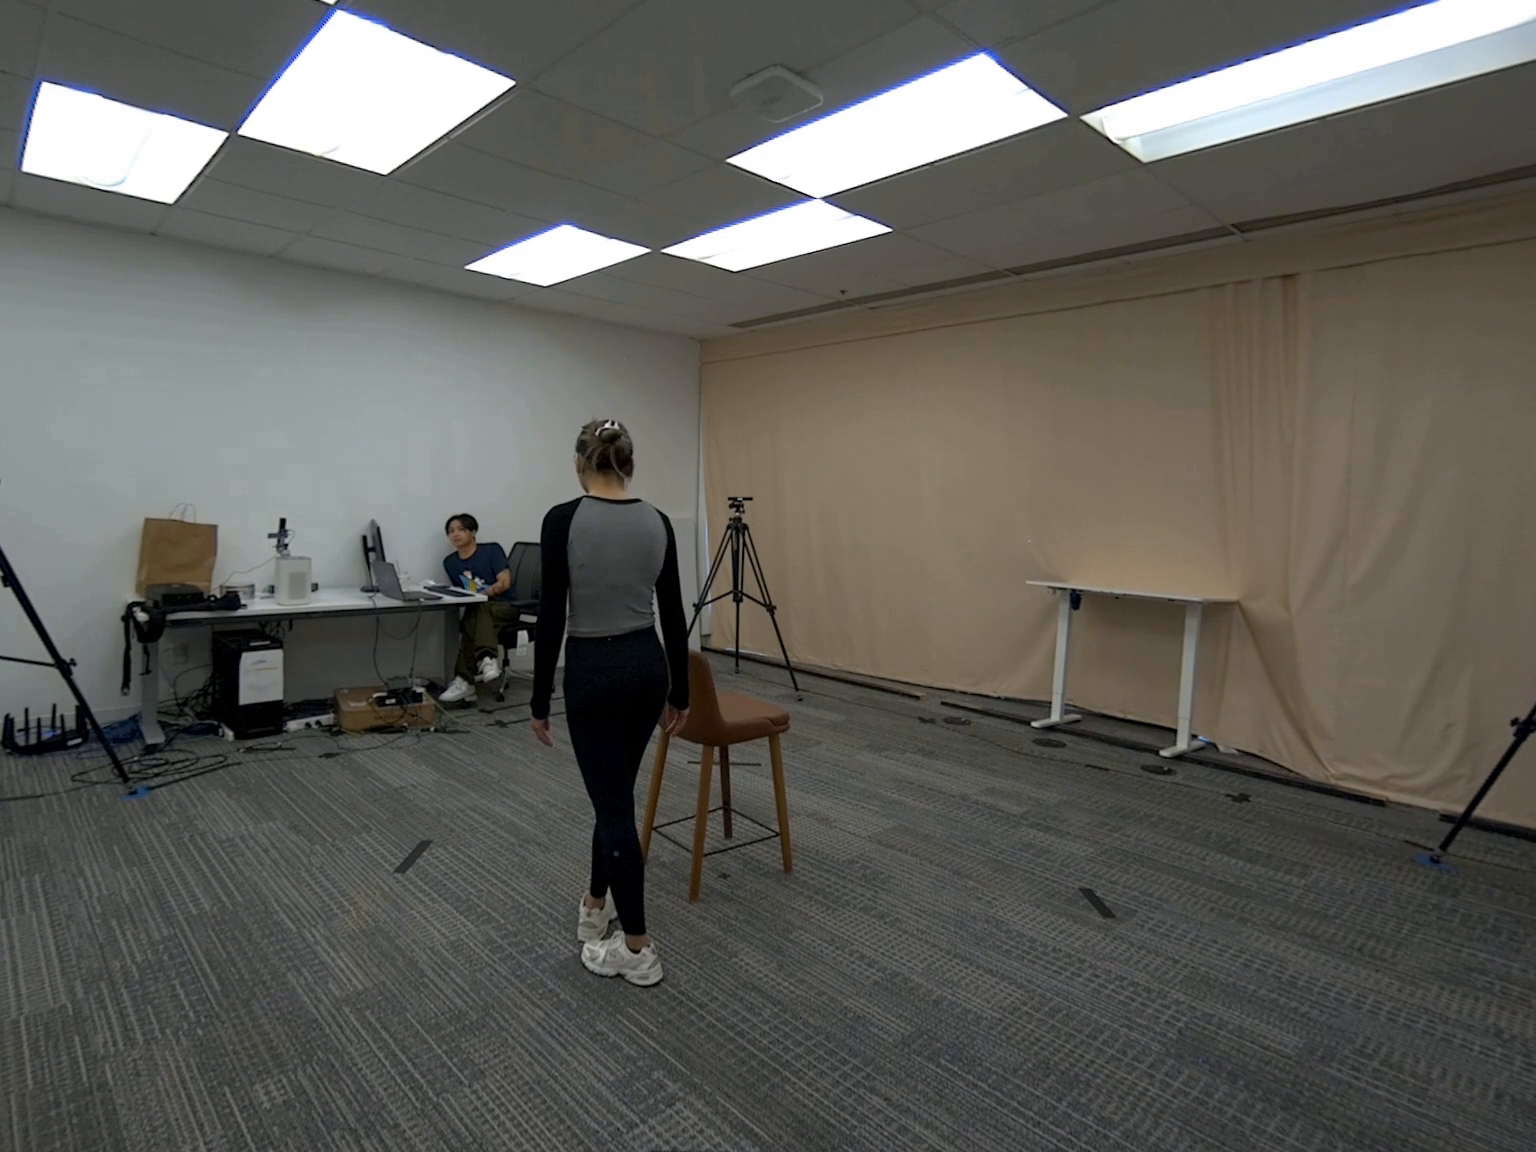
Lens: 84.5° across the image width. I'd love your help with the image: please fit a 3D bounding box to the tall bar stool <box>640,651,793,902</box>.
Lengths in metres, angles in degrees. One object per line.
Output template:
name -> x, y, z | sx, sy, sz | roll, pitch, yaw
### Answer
tall bar stool -> -0.205, 0.666, 3.148 | 0.457, 0.887, 0.468 | -4, 6, -38
